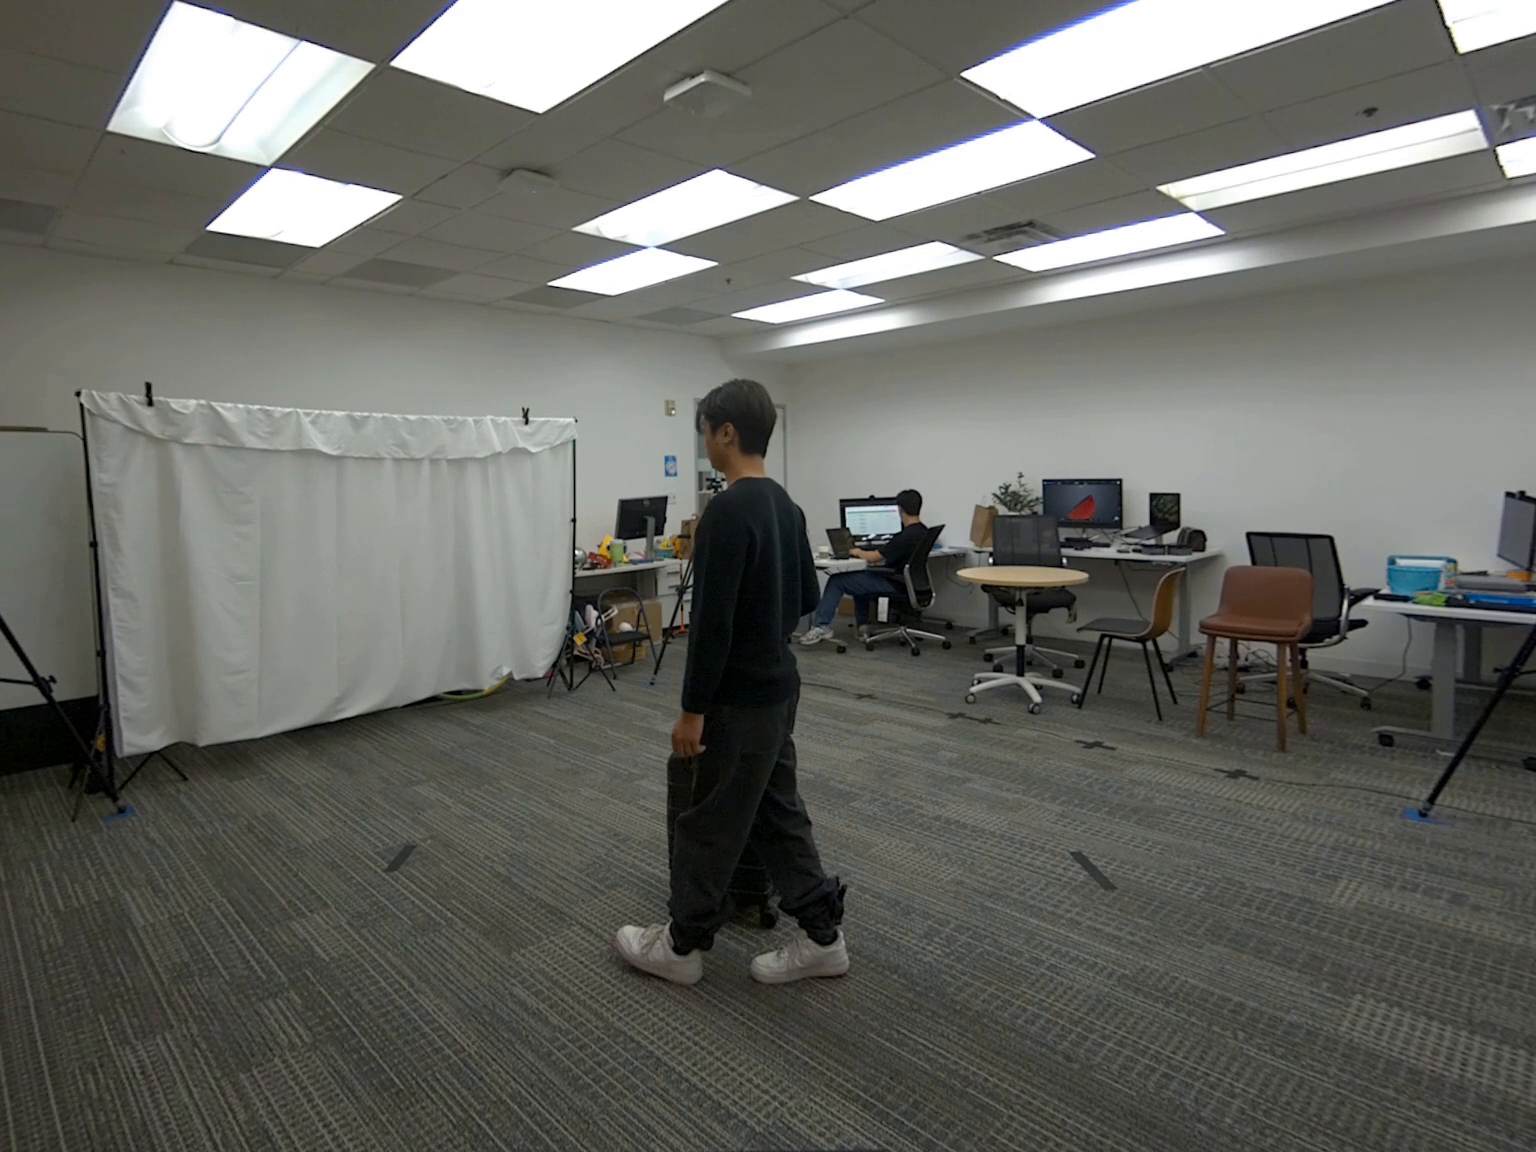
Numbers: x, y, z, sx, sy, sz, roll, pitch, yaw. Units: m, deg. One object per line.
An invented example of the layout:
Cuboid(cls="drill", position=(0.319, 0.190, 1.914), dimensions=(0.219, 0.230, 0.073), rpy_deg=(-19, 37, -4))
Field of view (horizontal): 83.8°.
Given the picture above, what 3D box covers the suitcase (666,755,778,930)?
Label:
Cuboid(cls="suitcase", position=(-0.136, 0.603, 2.805), dimensions=(0.390, 0.978, 0.253), rpy_deg=(-1, 0, 15))
